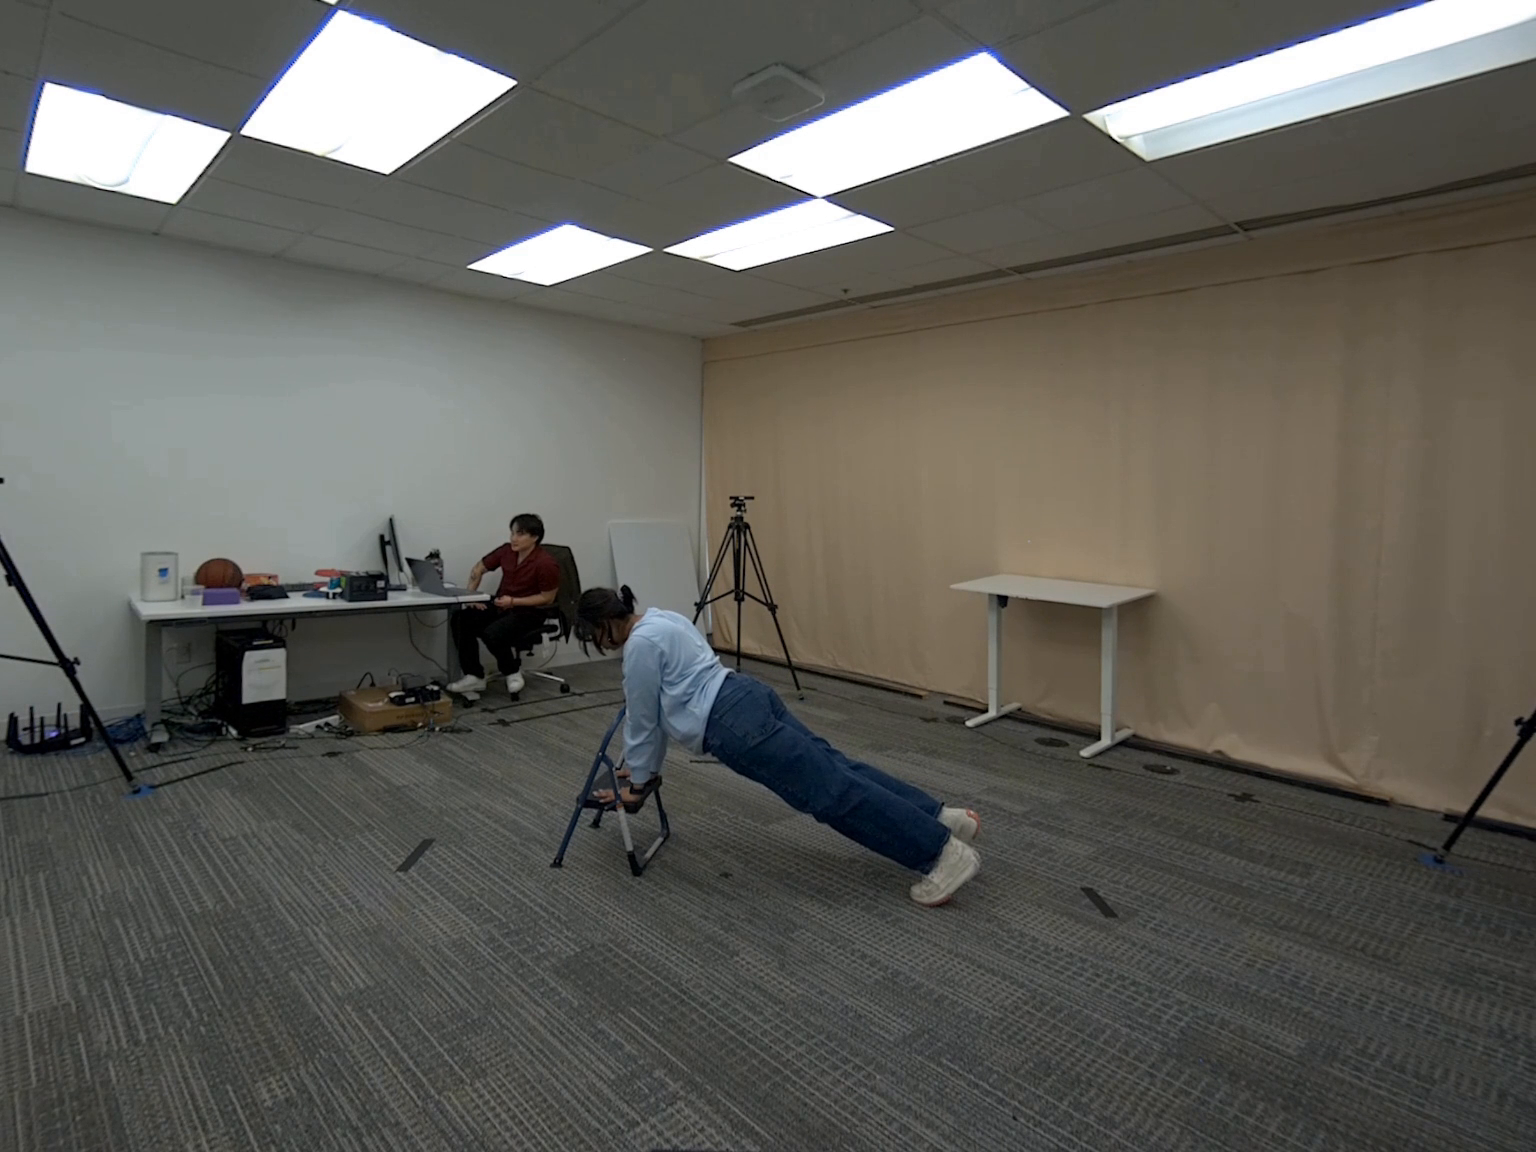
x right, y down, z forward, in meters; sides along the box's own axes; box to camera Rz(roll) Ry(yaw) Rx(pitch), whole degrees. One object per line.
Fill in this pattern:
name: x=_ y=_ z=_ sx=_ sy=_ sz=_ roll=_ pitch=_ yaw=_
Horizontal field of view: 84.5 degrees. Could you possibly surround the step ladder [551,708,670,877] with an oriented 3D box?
step ladder: x=-0.602 y=0.774 z=3.290 sx=0.352 sy=0.604 sz=0.428 roll=2 pitch=4 yaw=10
